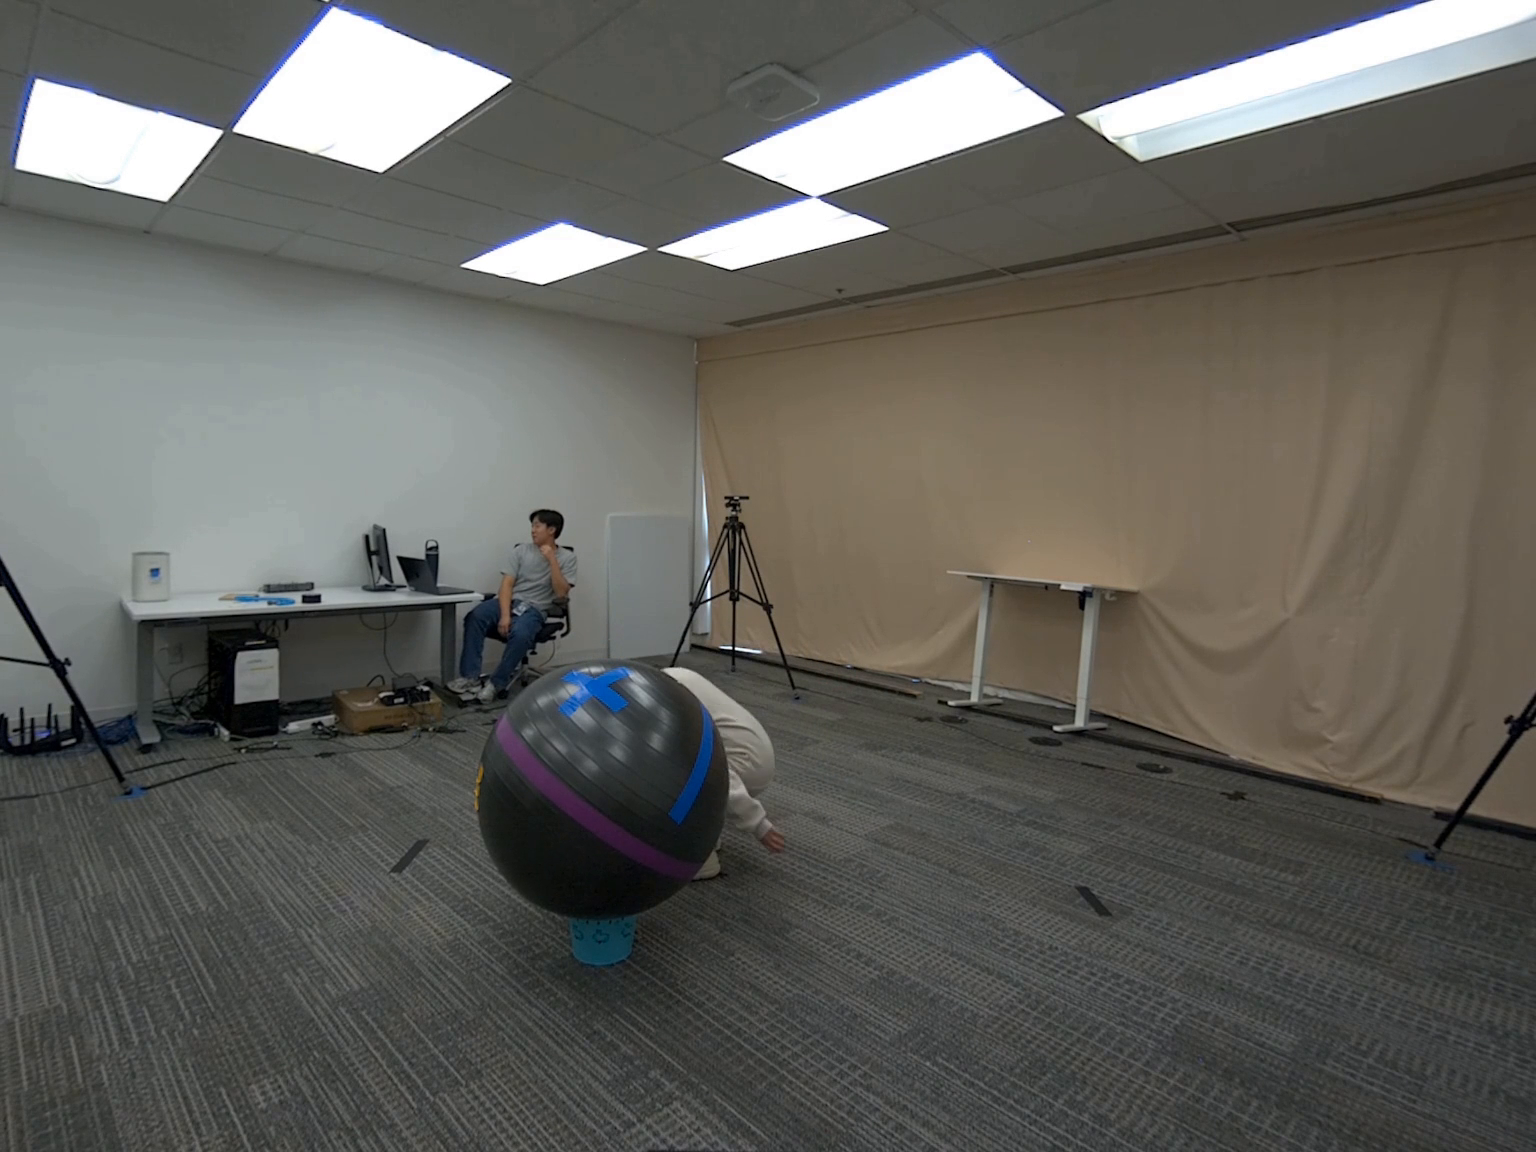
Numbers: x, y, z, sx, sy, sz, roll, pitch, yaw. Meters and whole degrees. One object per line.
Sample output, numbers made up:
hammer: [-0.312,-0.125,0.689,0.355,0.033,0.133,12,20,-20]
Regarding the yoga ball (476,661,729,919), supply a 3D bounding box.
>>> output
yoga ball: [-0.505,0.644,2.547,0.757,0.756,0.761,1,4,-1]
